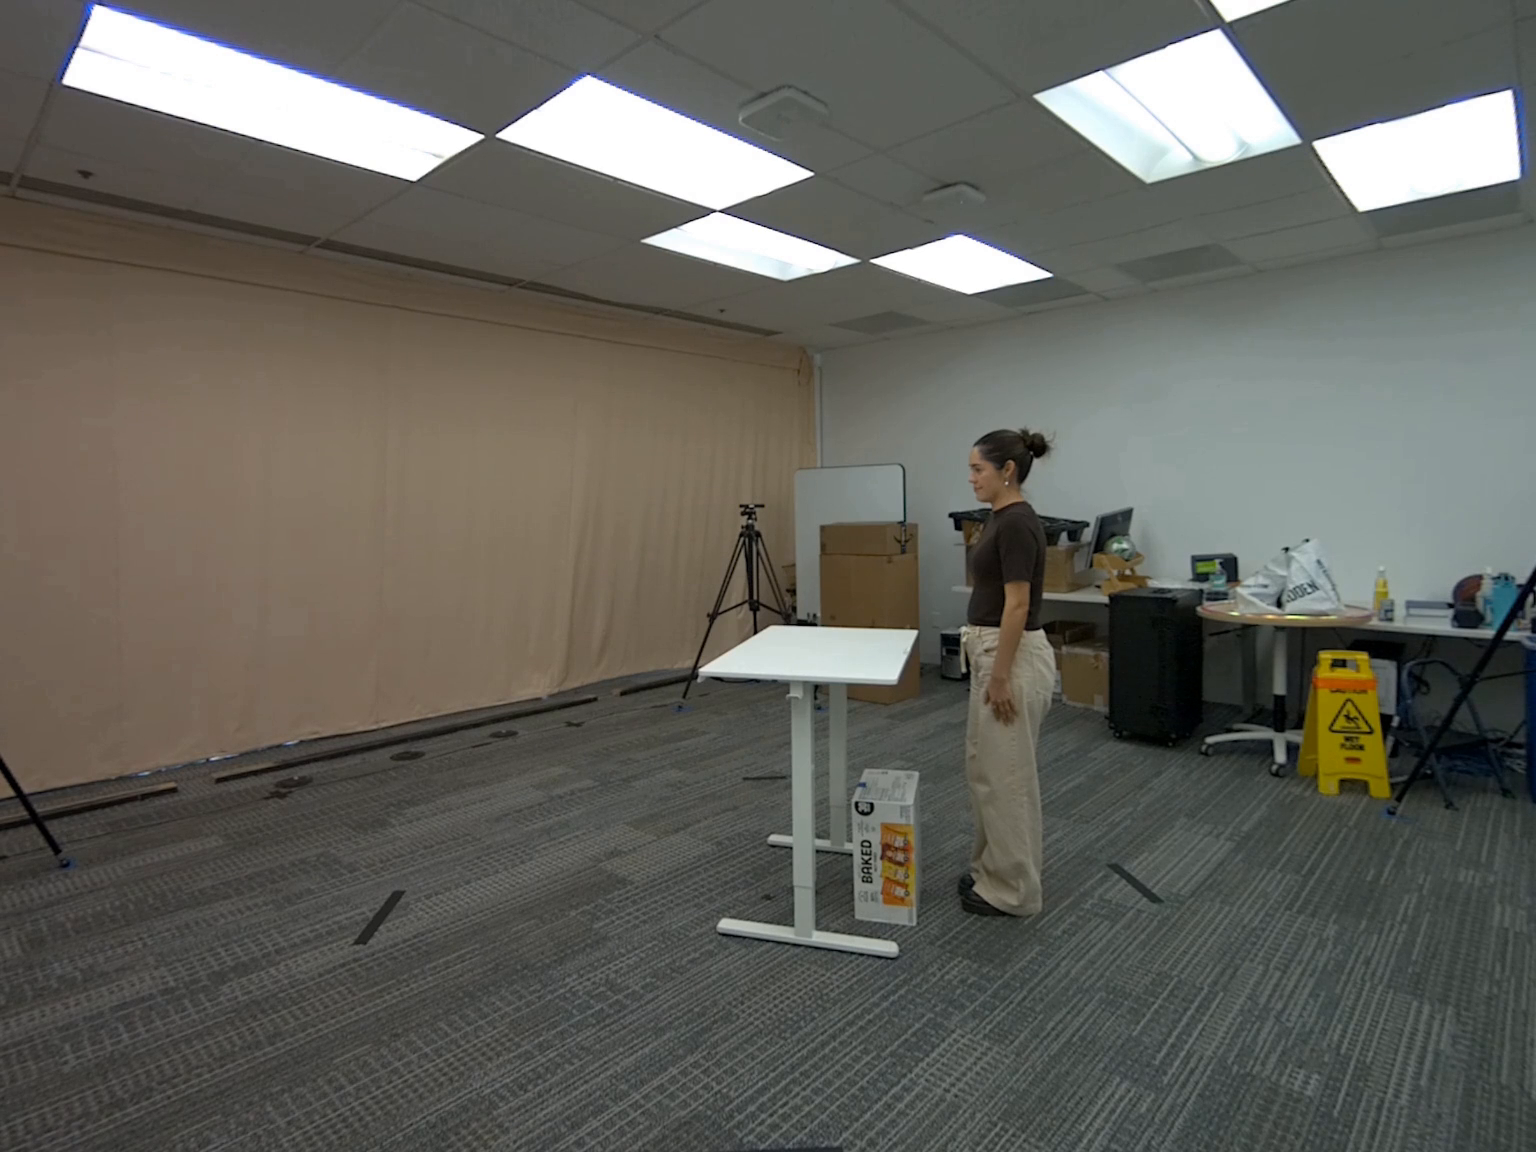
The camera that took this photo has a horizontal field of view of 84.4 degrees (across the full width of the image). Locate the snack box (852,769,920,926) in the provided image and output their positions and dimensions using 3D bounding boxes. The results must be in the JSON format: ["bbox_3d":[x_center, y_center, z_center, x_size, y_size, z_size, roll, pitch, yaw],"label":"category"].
[{"bbox_3d":[0.429,0.934,2.940,0.209,0.404,0.335,-2,3,14],"label":"snack box"}]
